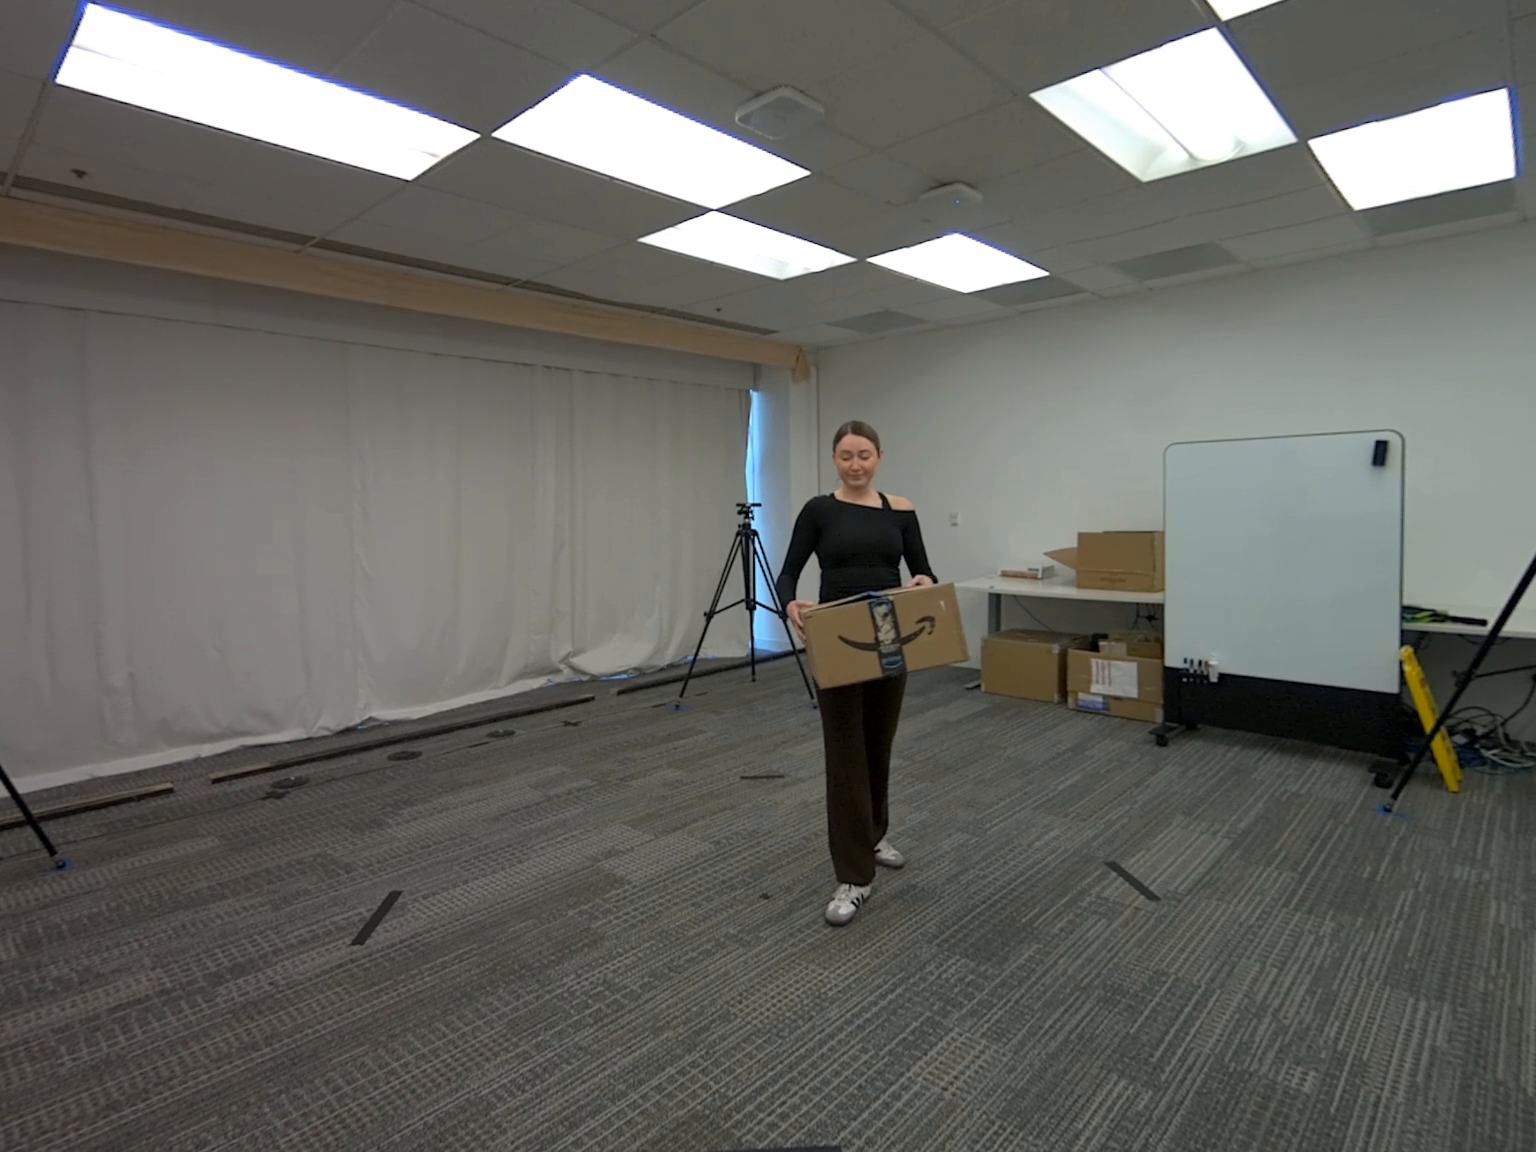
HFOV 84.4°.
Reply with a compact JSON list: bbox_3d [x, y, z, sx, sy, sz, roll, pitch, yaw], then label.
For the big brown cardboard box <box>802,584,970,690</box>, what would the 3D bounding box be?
[{"bbox_3d":[0.325,0.168,2.567,0.418,0.234,0.586,-11,-2,0],"label":"big brown cardboard box"}]
